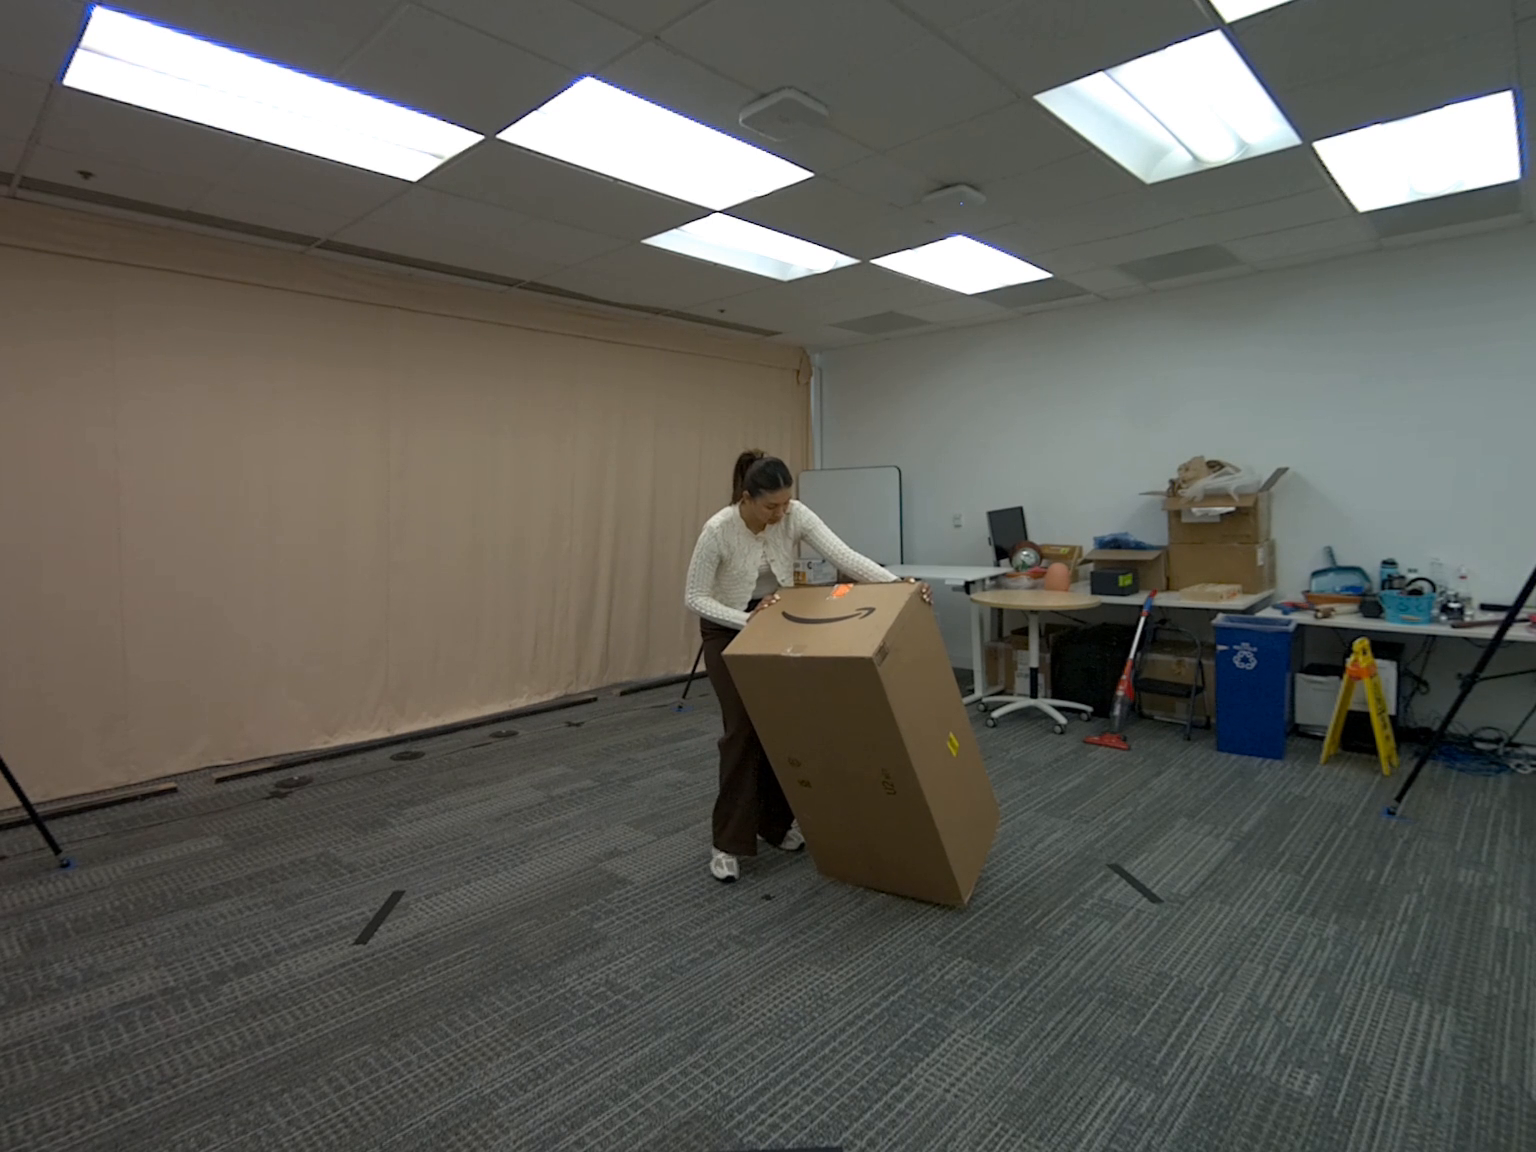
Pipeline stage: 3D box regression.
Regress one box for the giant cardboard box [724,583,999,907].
[{"bbox_3d":[0.356,0.576,2.946,0.595,1.006,0.422,-4,27,37],"label":"giant cardboard box"}]
